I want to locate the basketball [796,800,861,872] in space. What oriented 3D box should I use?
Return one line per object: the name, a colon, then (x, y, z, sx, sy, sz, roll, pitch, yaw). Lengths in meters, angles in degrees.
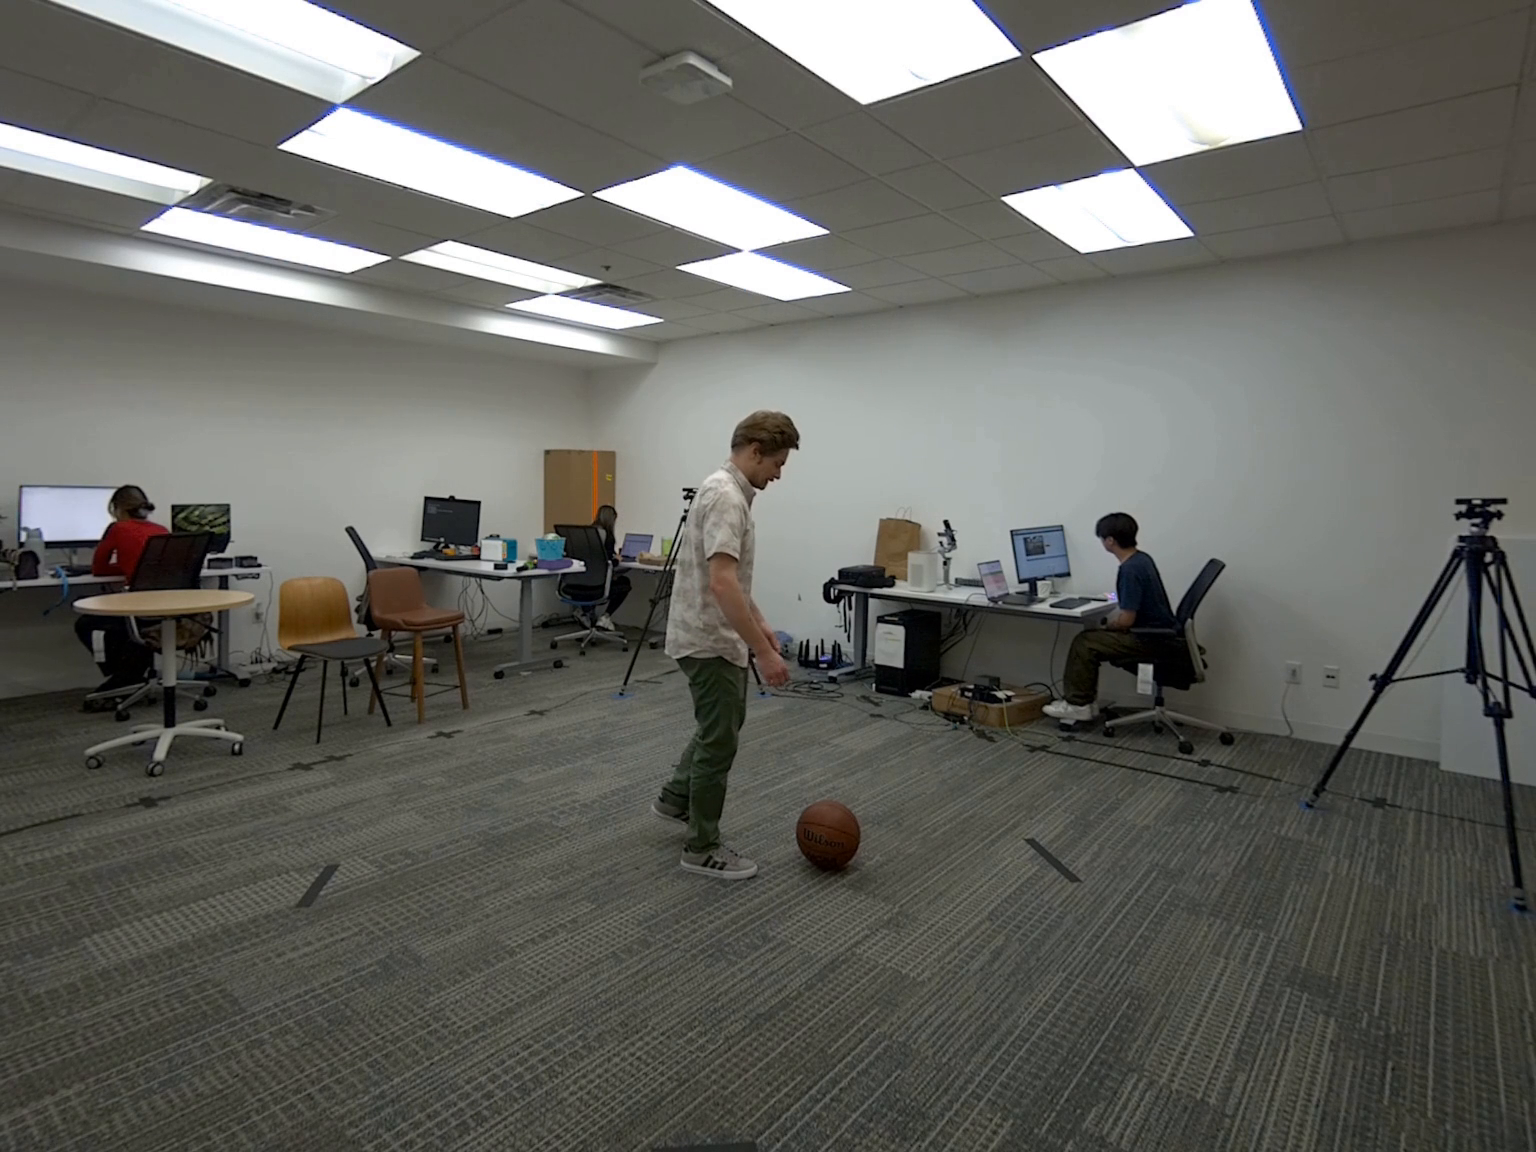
basketball: (0.214, 0.952, 3.160, 0.236, 0.235, 0.237, 1, 4, -2)
